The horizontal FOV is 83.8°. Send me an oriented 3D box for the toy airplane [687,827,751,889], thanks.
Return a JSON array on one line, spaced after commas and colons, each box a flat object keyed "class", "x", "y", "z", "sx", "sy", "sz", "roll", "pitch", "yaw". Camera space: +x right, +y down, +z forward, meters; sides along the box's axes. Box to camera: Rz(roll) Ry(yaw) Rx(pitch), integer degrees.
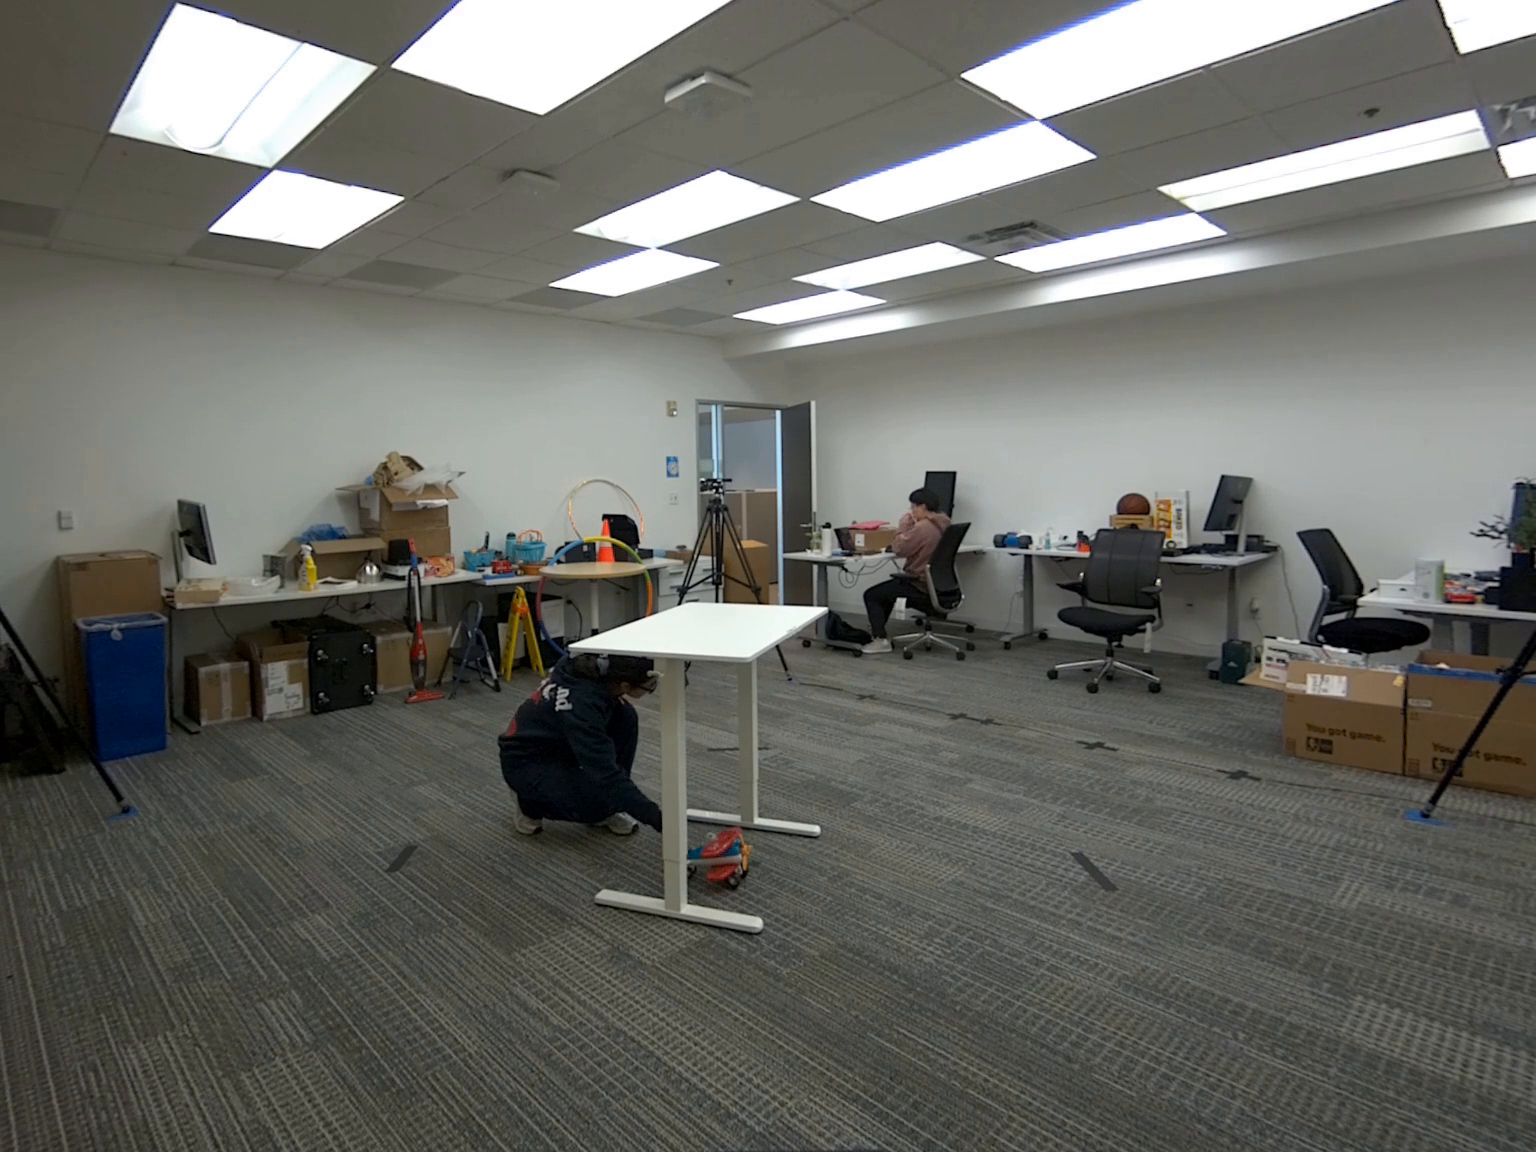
[{"class": "toy airplane", "x": -0.187, "y": 0.988, "z": 2.955, "sx": 0.257, "sy": 0.156, "sz": 0.253, "roll": 1, "pitch": 3, "yaw": -9}]
